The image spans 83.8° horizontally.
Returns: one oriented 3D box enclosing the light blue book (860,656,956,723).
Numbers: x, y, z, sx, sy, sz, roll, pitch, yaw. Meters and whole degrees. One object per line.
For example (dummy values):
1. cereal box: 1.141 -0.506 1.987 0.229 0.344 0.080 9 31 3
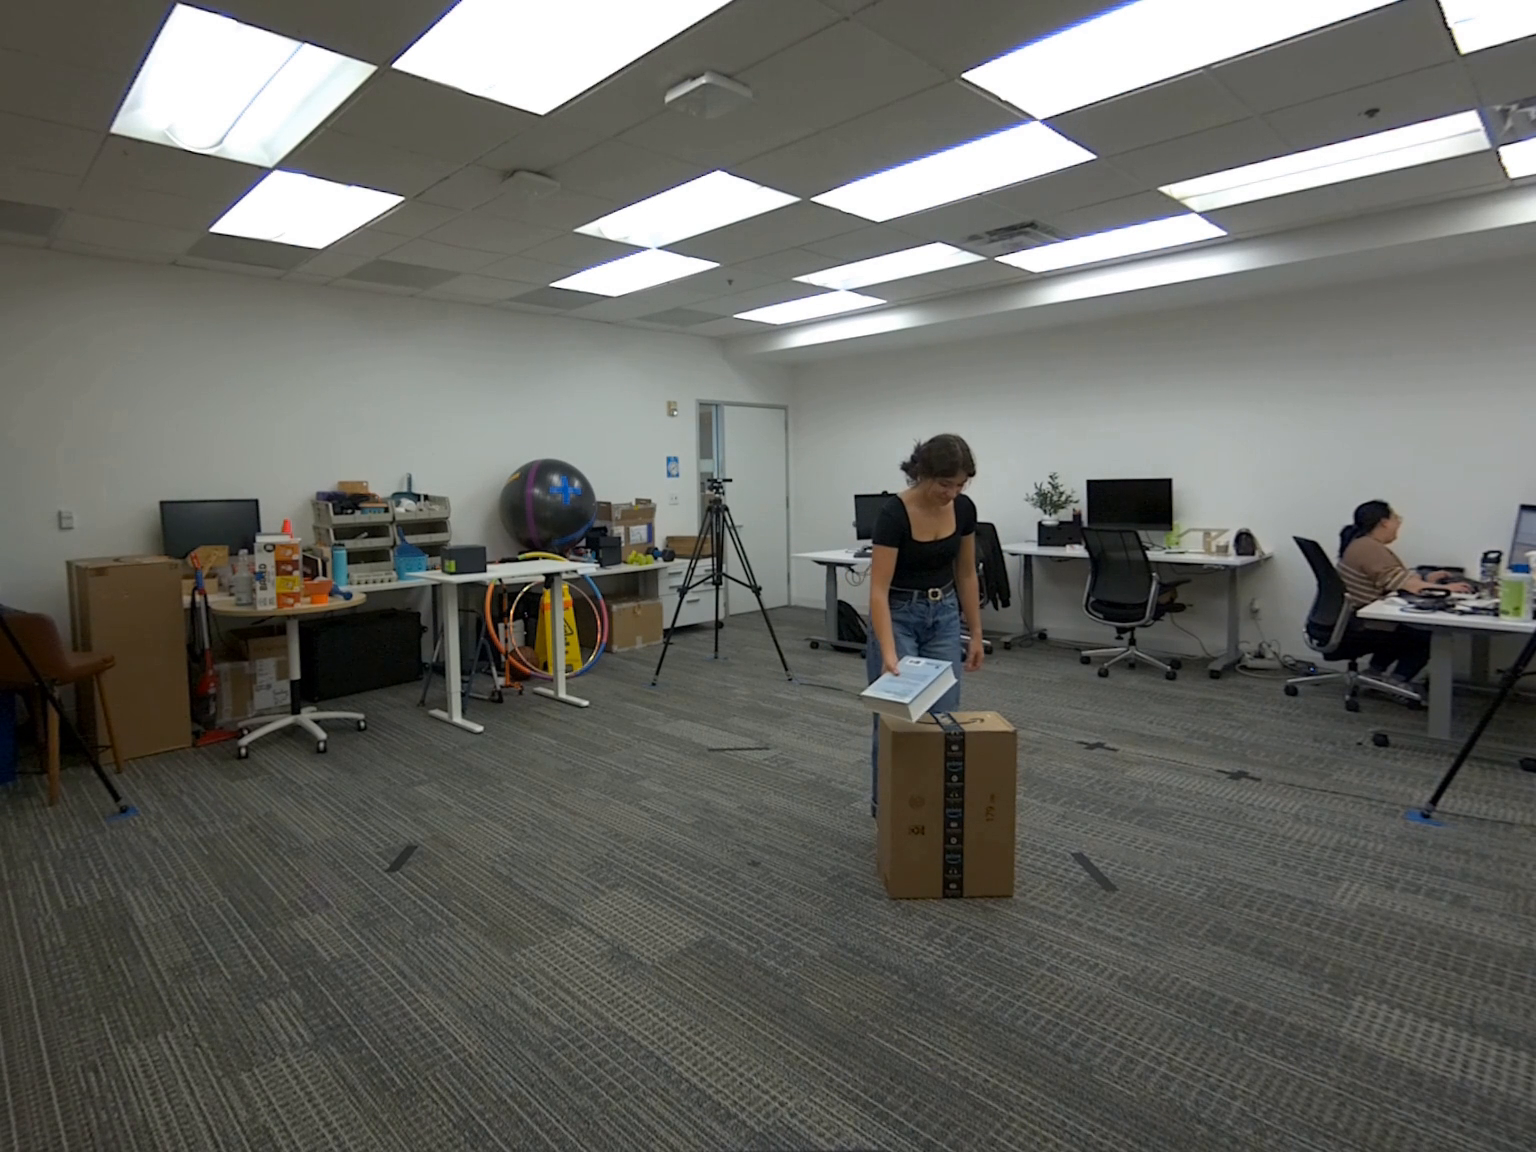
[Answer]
1. light blue book: 0.461 0.364 2.753 0.197 0.058 0.258 5 29 46
